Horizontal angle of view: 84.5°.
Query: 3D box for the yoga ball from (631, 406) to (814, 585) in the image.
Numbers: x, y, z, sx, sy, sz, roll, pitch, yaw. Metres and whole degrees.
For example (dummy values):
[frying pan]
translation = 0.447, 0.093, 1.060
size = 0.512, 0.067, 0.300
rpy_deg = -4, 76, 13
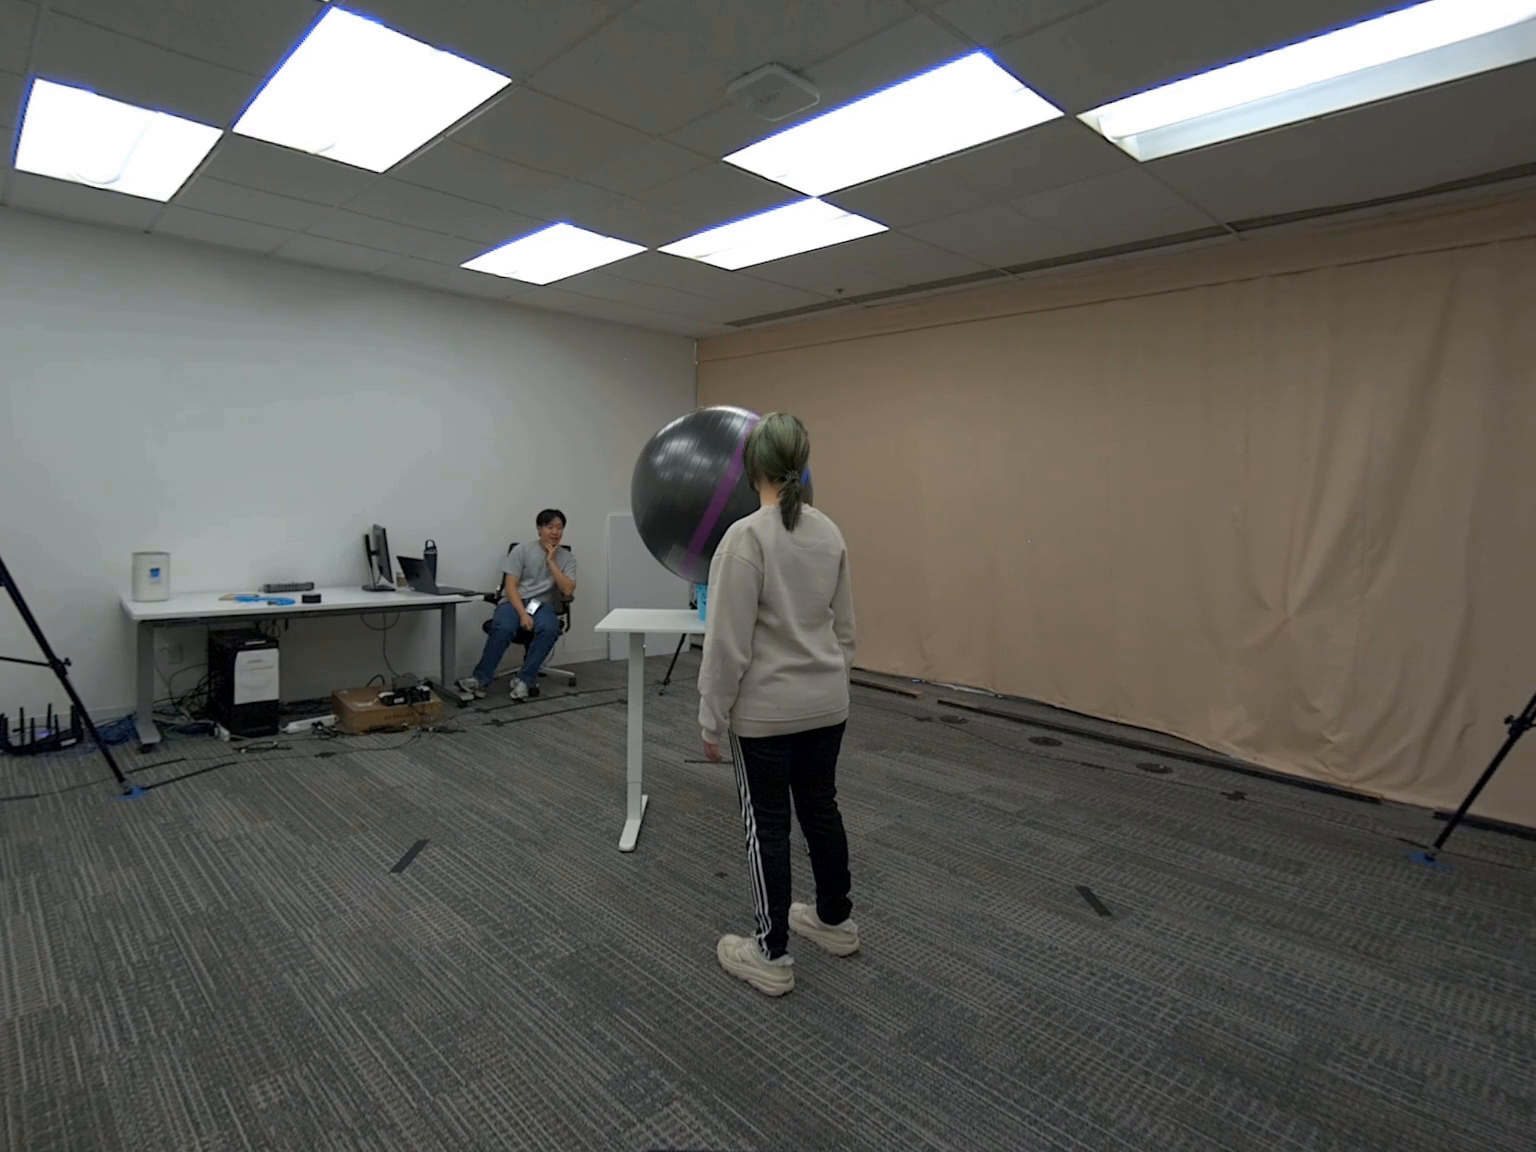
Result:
[yoga ball]
translation = -0.200, -0.326, 3.516
size = 0.757, 0.756, 0.761
rpy_deg = 1, 4, -1
